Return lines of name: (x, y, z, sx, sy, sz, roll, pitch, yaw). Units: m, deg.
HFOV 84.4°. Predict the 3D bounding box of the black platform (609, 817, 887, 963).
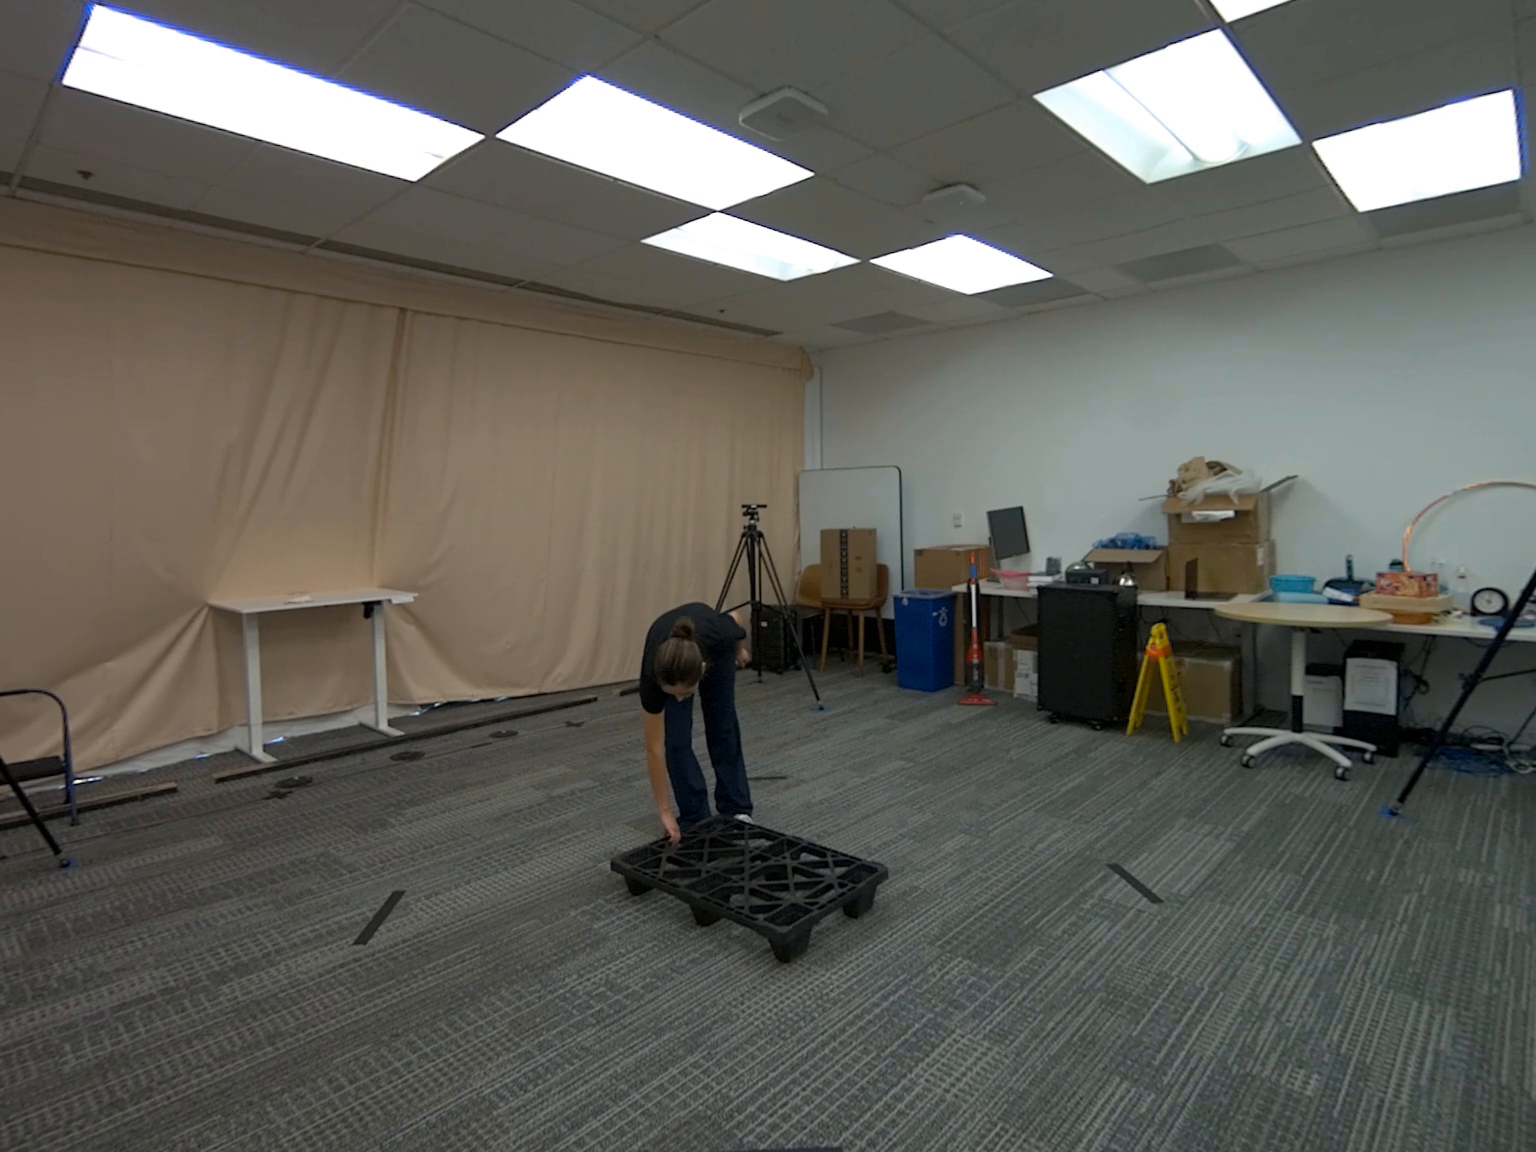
black platform: (-0.055, 1.078, 2.954, 0.832, 0.143, 0.587, 2, 6, 41)
